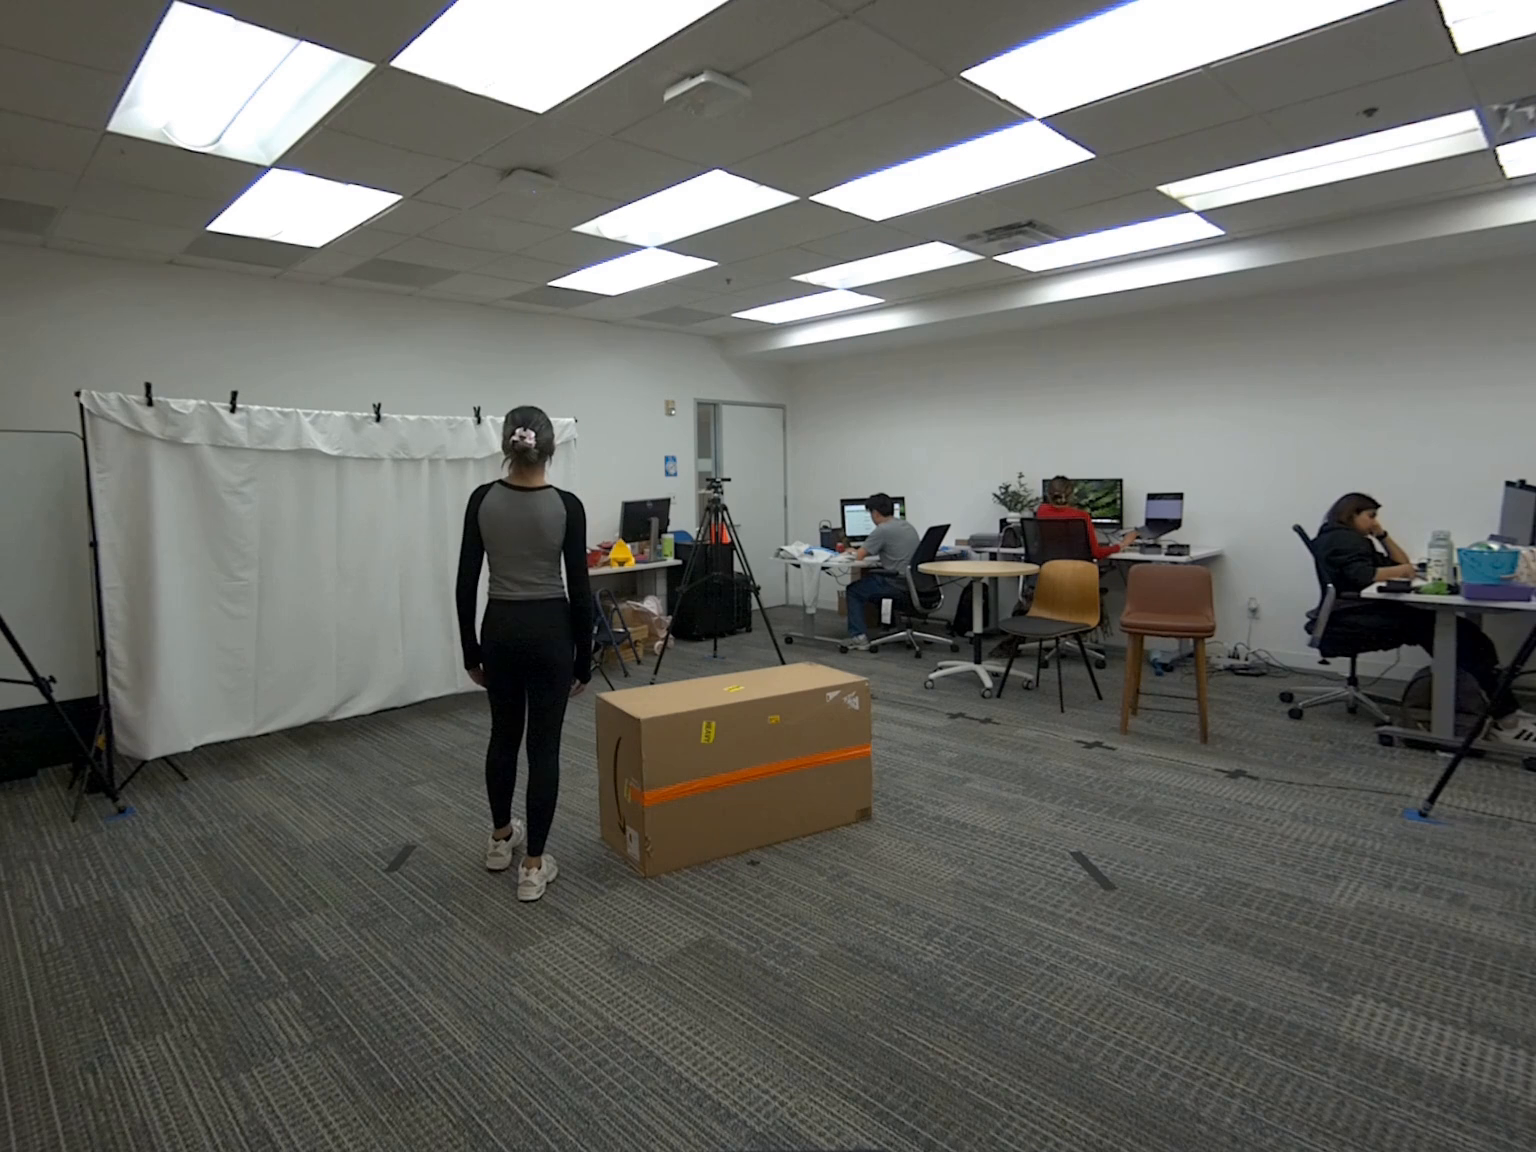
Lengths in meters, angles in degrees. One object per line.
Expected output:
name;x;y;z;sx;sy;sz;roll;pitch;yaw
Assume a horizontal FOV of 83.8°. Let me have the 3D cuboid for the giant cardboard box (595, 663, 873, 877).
giant cardboard box;-0.120;0.722;3.401;1.002;0.575;0.438;-5;5;-30
